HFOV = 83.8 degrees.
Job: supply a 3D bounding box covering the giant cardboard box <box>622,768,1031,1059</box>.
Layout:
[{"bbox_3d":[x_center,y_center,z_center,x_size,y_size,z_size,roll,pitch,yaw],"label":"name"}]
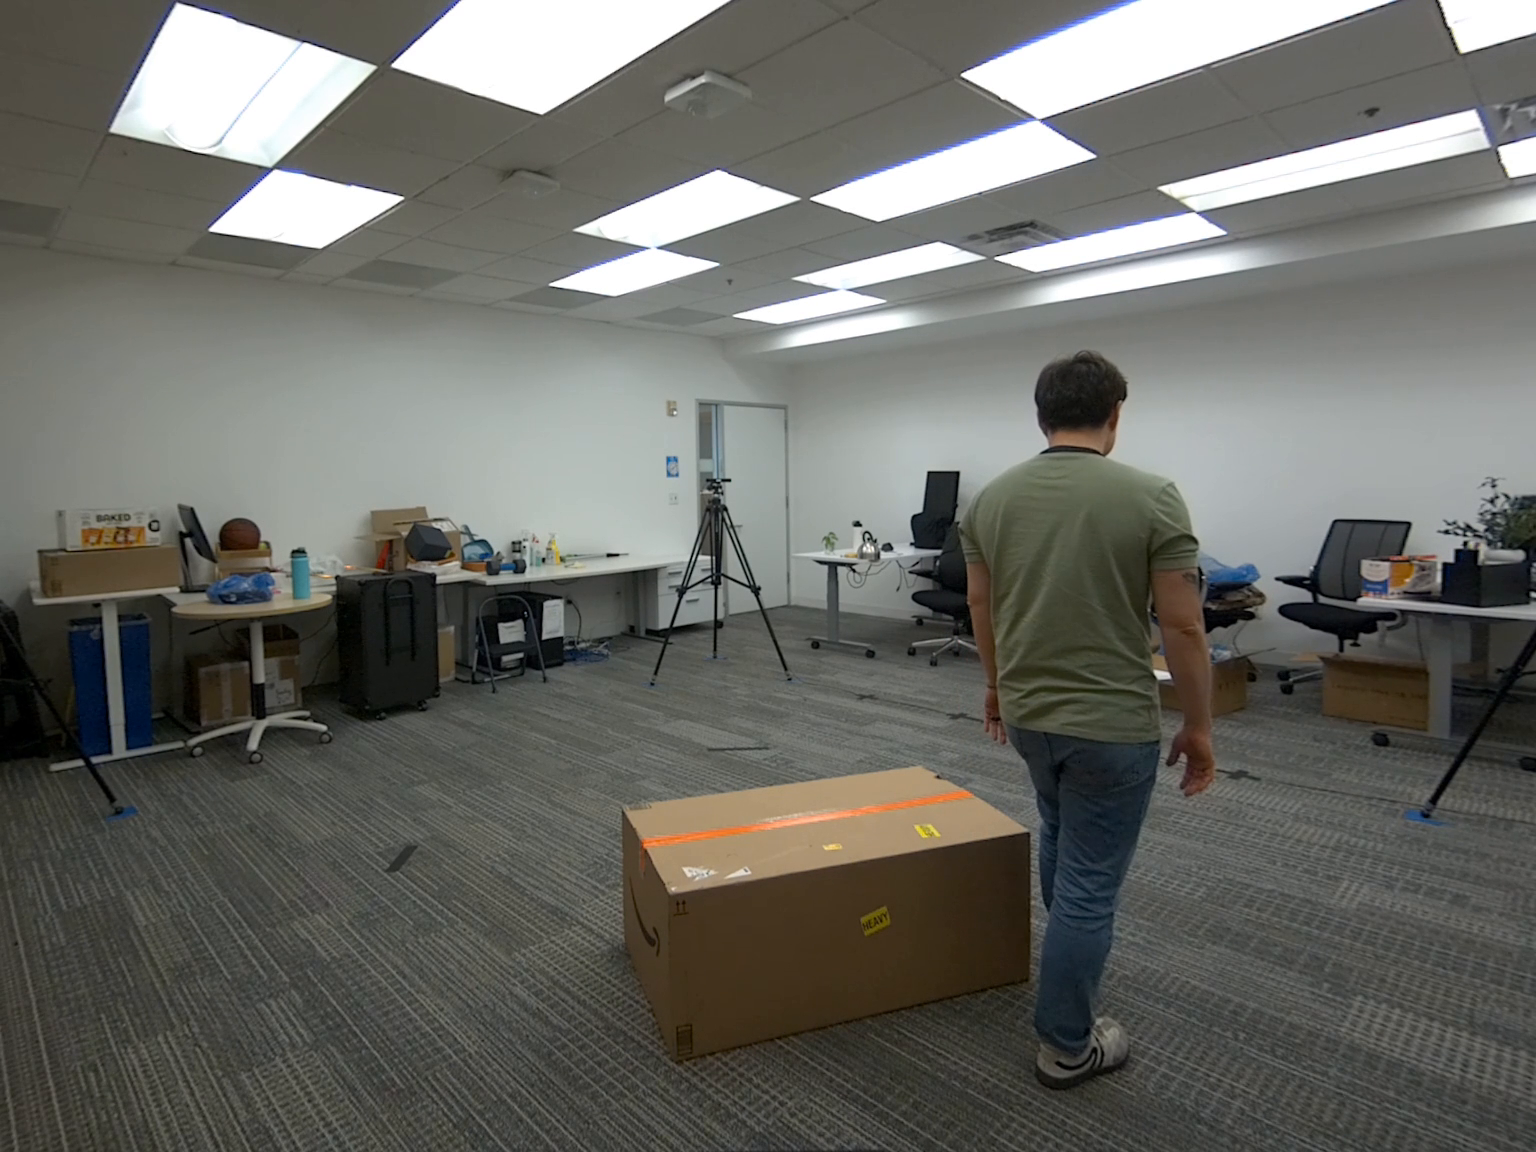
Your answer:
[{"bbox_3d":[0.144,0.898,2.465,1.009,0.424,0.590,-3,7,-19],"label":"giant cardboard box"}]
